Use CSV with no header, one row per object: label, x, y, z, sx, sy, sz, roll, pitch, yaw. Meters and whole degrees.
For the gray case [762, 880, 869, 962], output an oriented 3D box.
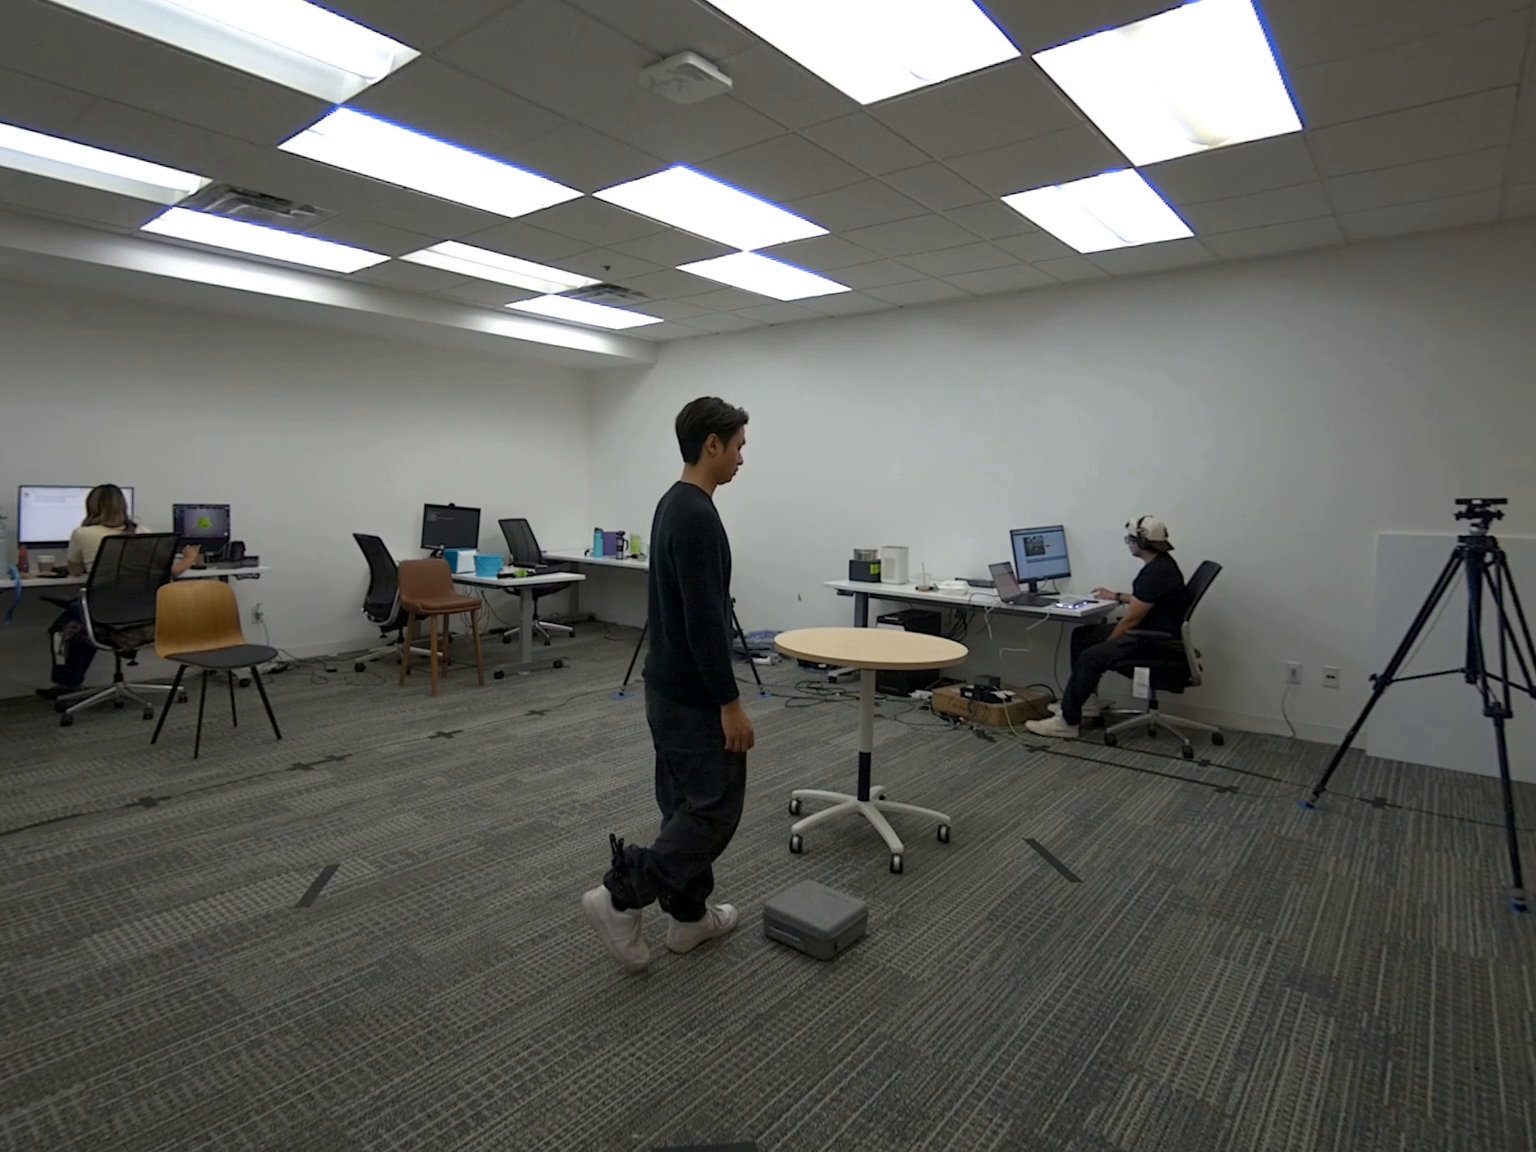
gray case,0.144,1.066,2.656,0.266,0.104,0.253,7,8,39
